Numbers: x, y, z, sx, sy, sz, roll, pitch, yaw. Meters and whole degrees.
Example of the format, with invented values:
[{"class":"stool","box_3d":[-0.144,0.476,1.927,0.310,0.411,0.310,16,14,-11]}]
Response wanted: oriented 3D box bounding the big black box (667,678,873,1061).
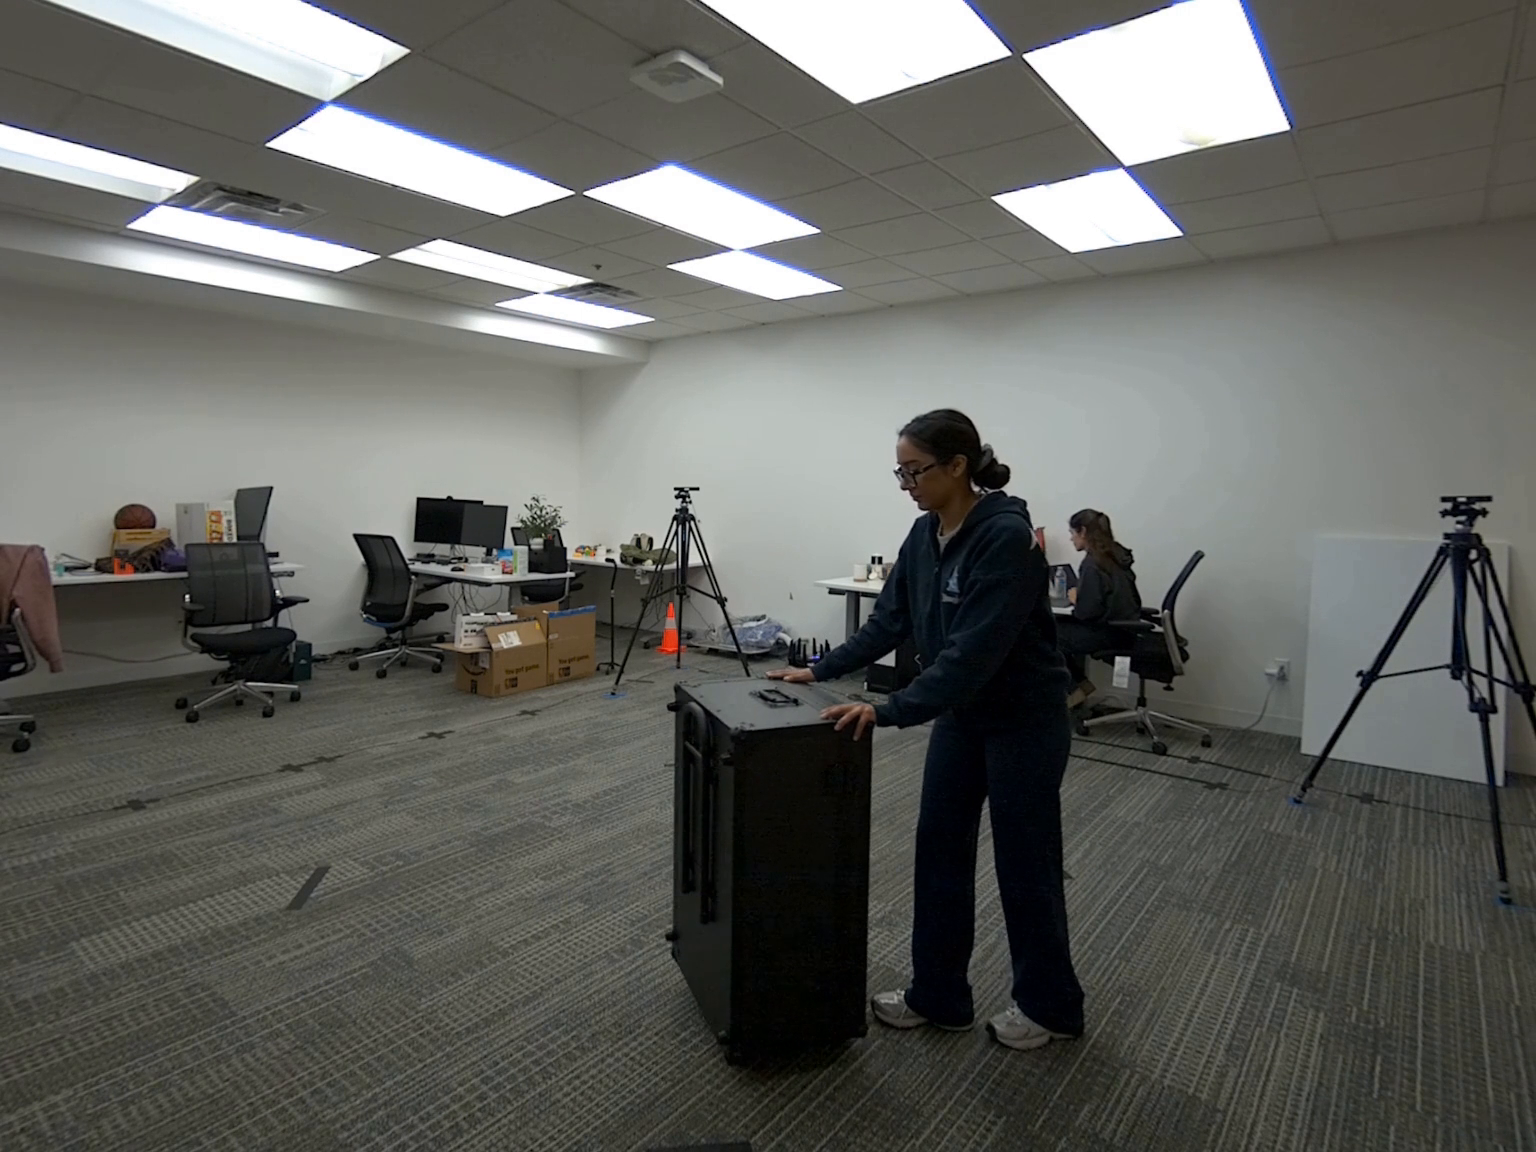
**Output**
[{"class":"big black box","box_3d":[-0.016,0.732,2.200,0.388,0.858,0.535,-1,5,-23]}]
